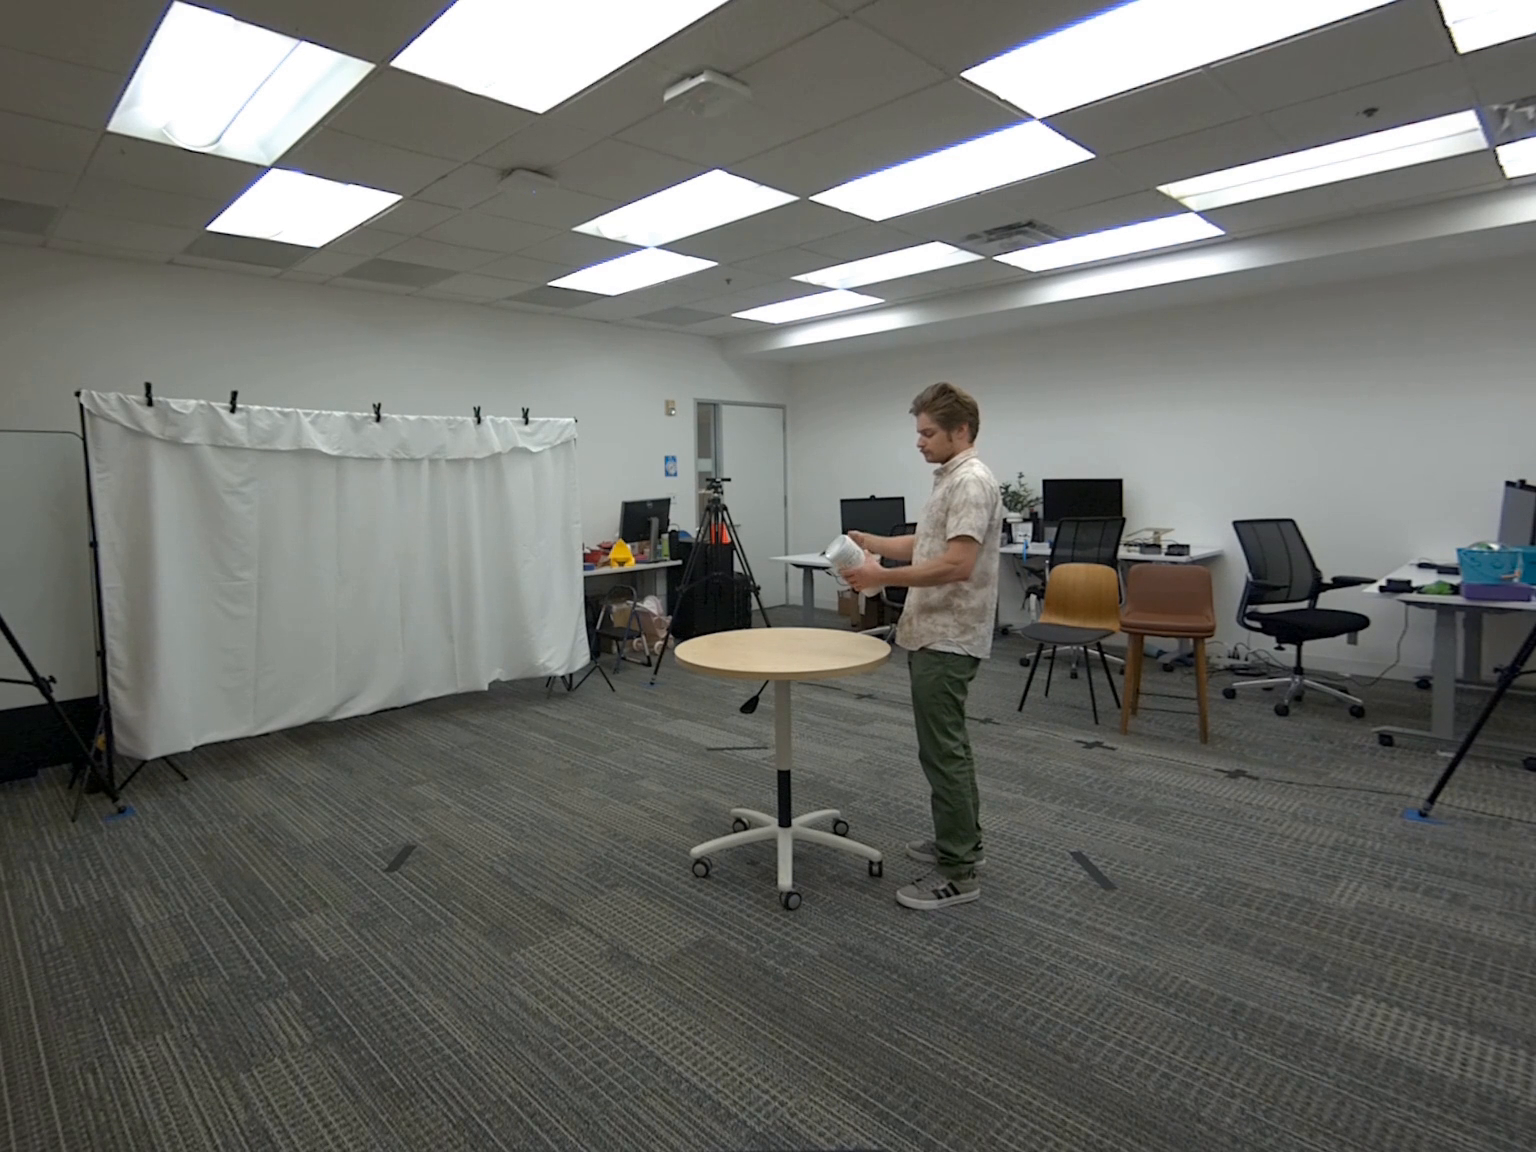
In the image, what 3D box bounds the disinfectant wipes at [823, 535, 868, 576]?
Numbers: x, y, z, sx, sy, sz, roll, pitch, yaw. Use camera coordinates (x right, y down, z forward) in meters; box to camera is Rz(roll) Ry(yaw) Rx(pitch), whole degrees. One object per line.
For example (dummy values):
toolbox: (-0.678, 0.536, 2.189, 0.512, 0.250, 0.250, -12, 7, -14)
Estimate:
disinfectant wipes: (0.320, -0.040, 2.968, 0.213, 0.118, 0.120, 40, -9, -17)
